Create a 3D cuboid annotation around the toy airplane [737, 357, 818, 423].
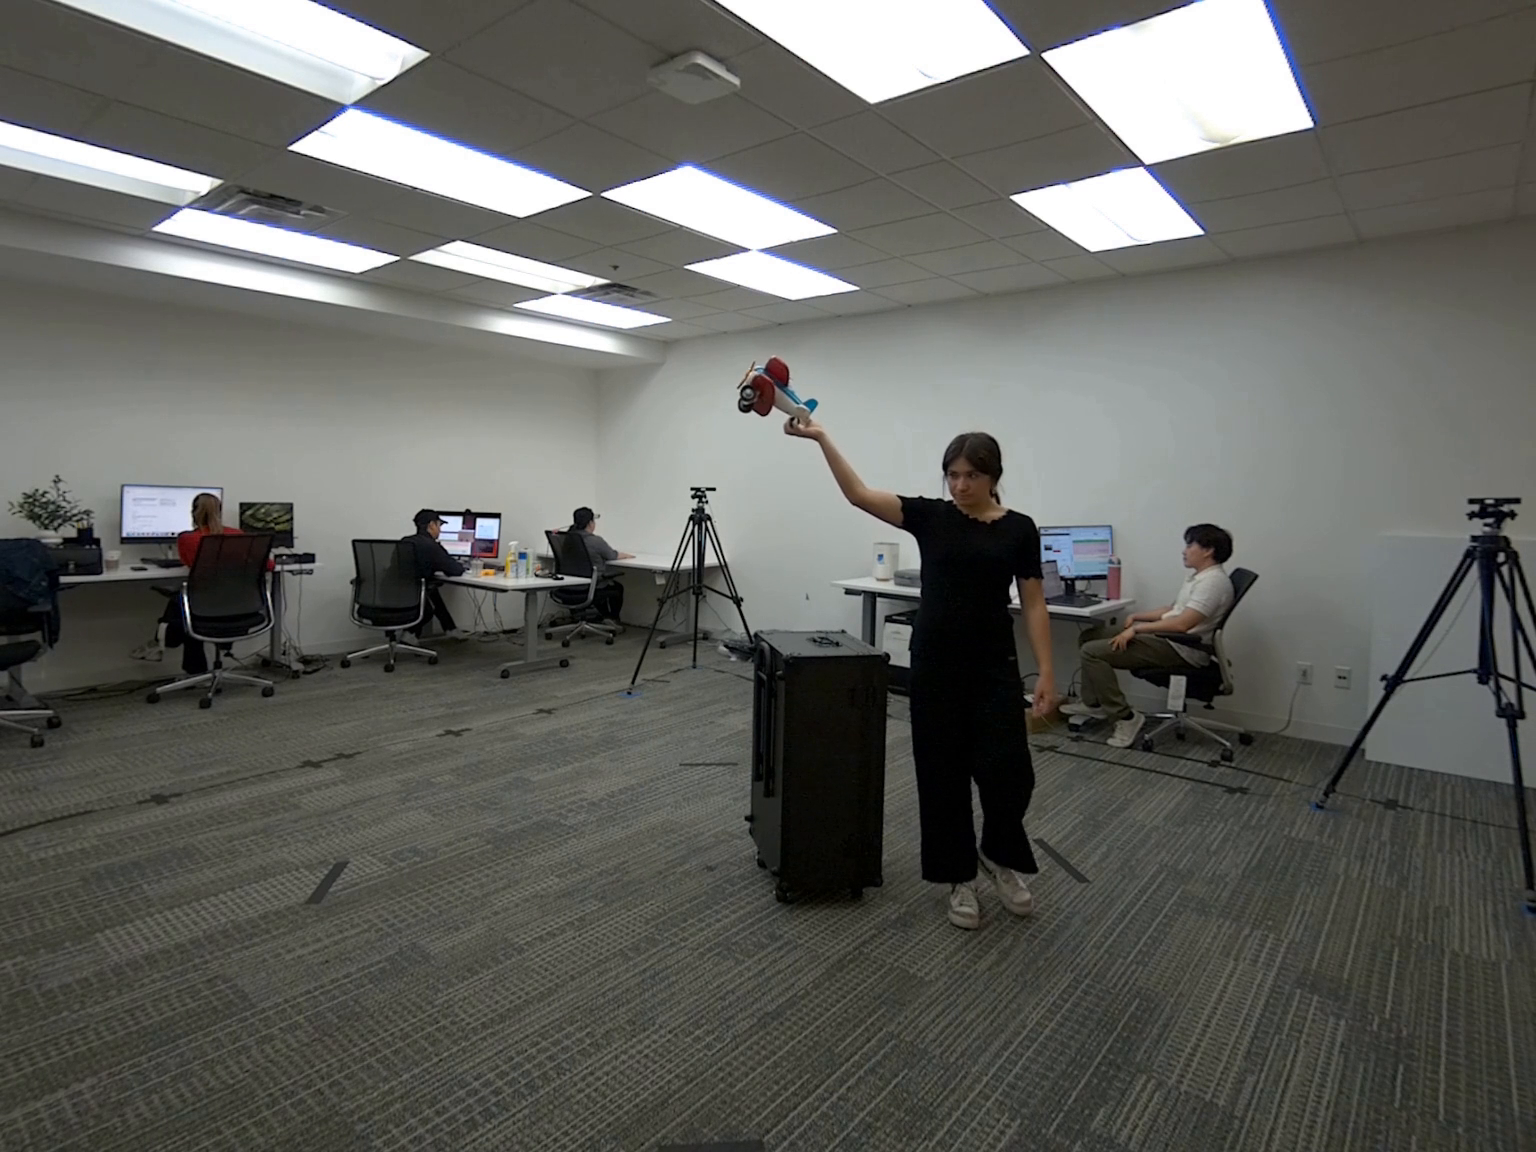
[{"bbox_3d":[0.019,-0.594,2.849,0.251,0.157,0.257,33,-17,-24],"label":"toy airplane"}]
